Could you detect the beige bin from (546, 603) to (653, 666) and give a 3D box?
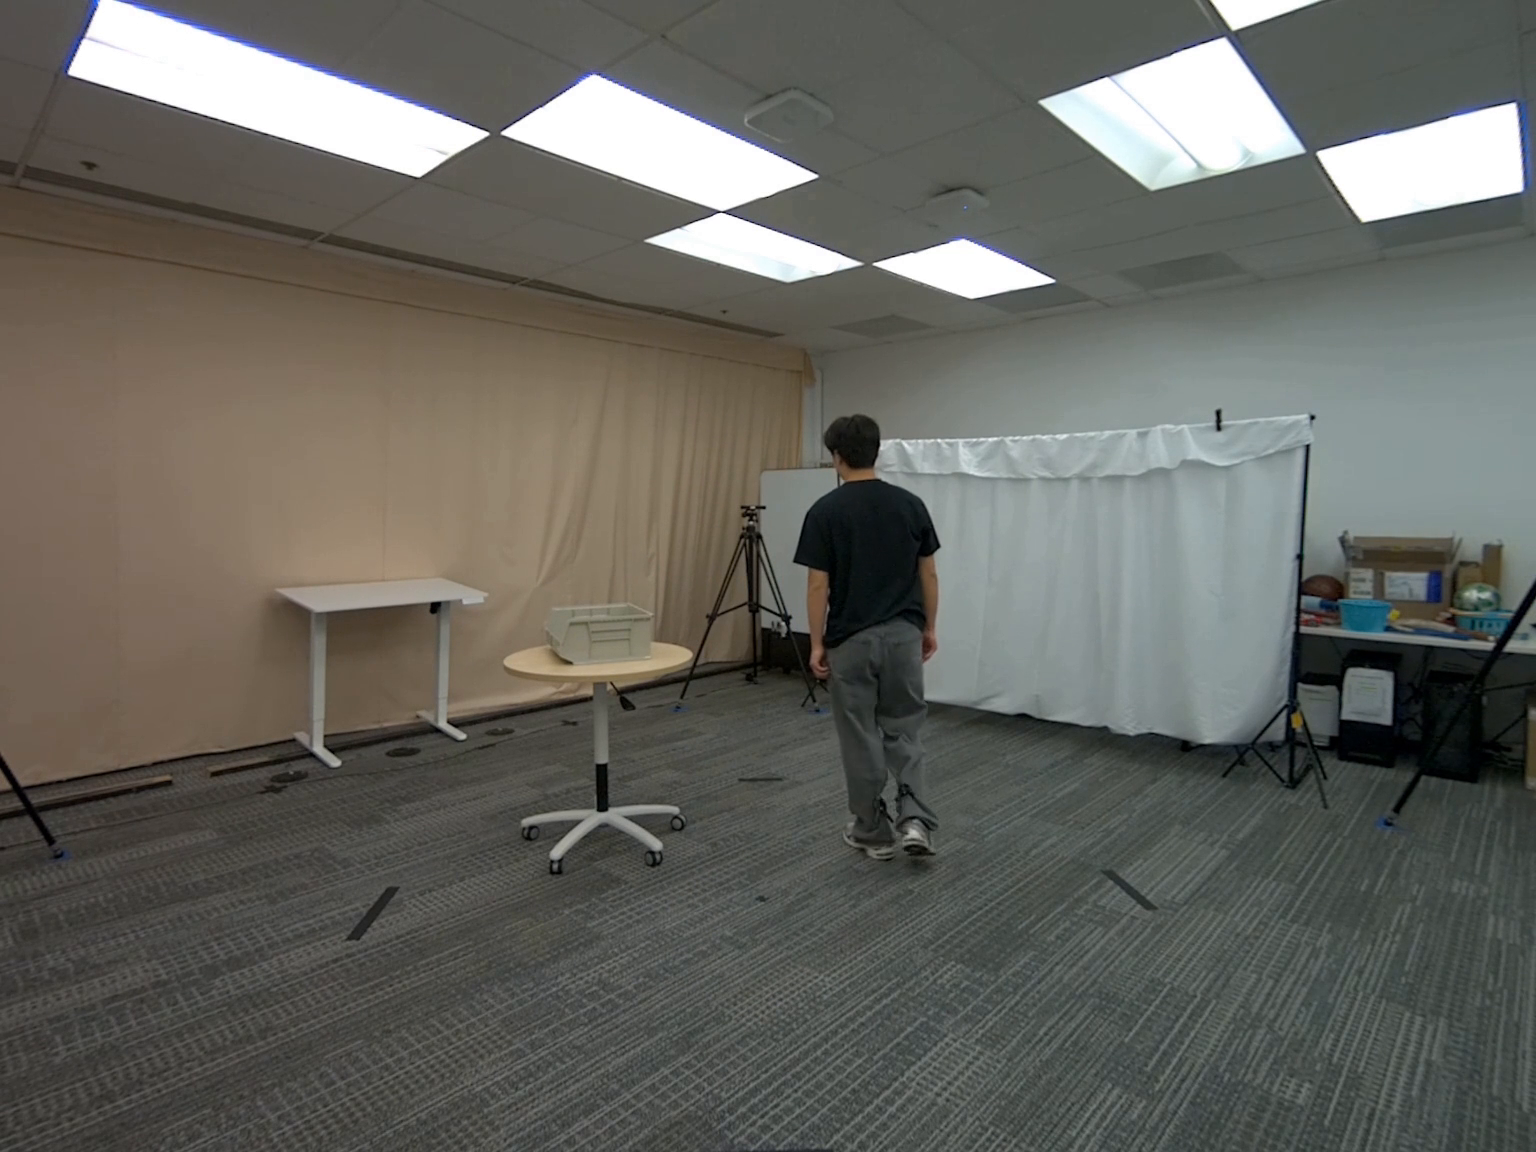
[{"bbox_3d":[-0.712,0.235,3.505,0.369,0.188,0.432,-1,5,-21],"label":"beige bin"}]
